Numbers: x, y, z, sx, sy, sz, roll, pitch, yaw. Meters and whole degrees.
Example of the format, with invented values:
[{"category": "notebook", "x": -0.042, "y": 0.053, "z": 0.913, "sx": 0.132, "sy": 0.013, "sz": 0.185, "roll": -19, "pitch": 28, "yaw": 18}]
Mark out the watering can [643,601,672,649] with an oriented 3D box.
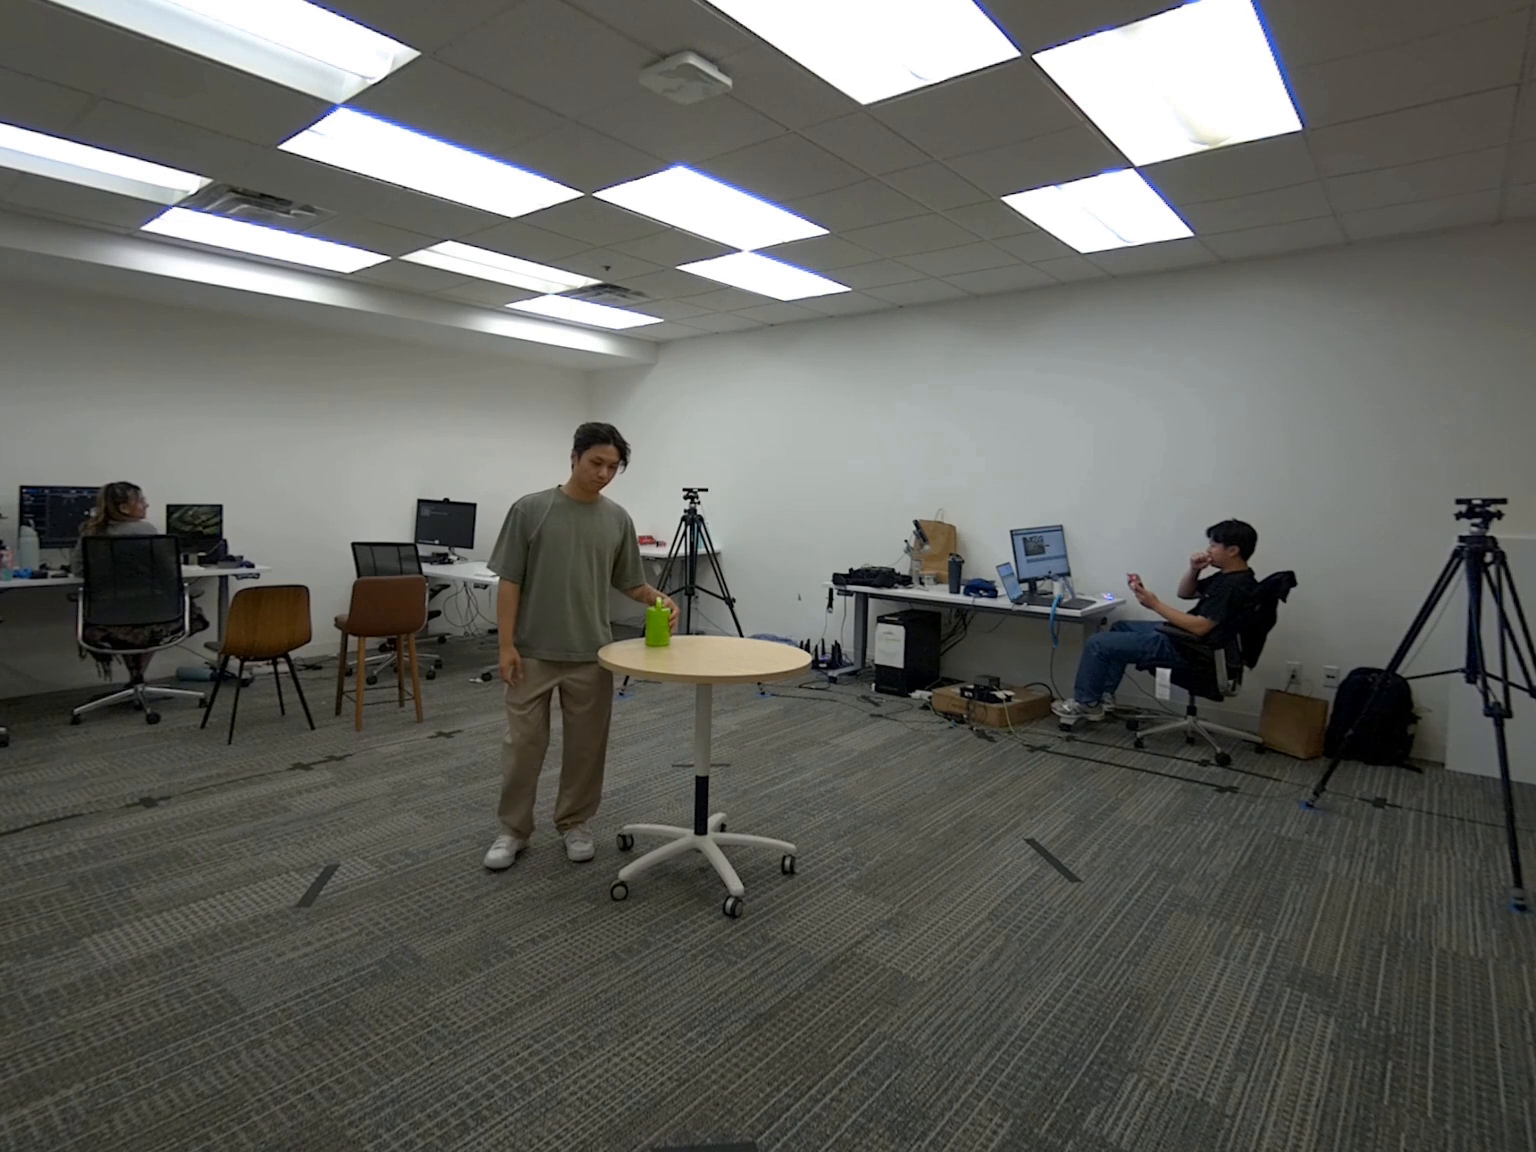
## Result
[{"category": "watering can", "x": -0.440, "y": 0.180, "z": 3.175, "sx": 0.099, "sy": 0.176, "sz": 0.276, "roll": 0, "pitch": 5, "yaw": 10}]
